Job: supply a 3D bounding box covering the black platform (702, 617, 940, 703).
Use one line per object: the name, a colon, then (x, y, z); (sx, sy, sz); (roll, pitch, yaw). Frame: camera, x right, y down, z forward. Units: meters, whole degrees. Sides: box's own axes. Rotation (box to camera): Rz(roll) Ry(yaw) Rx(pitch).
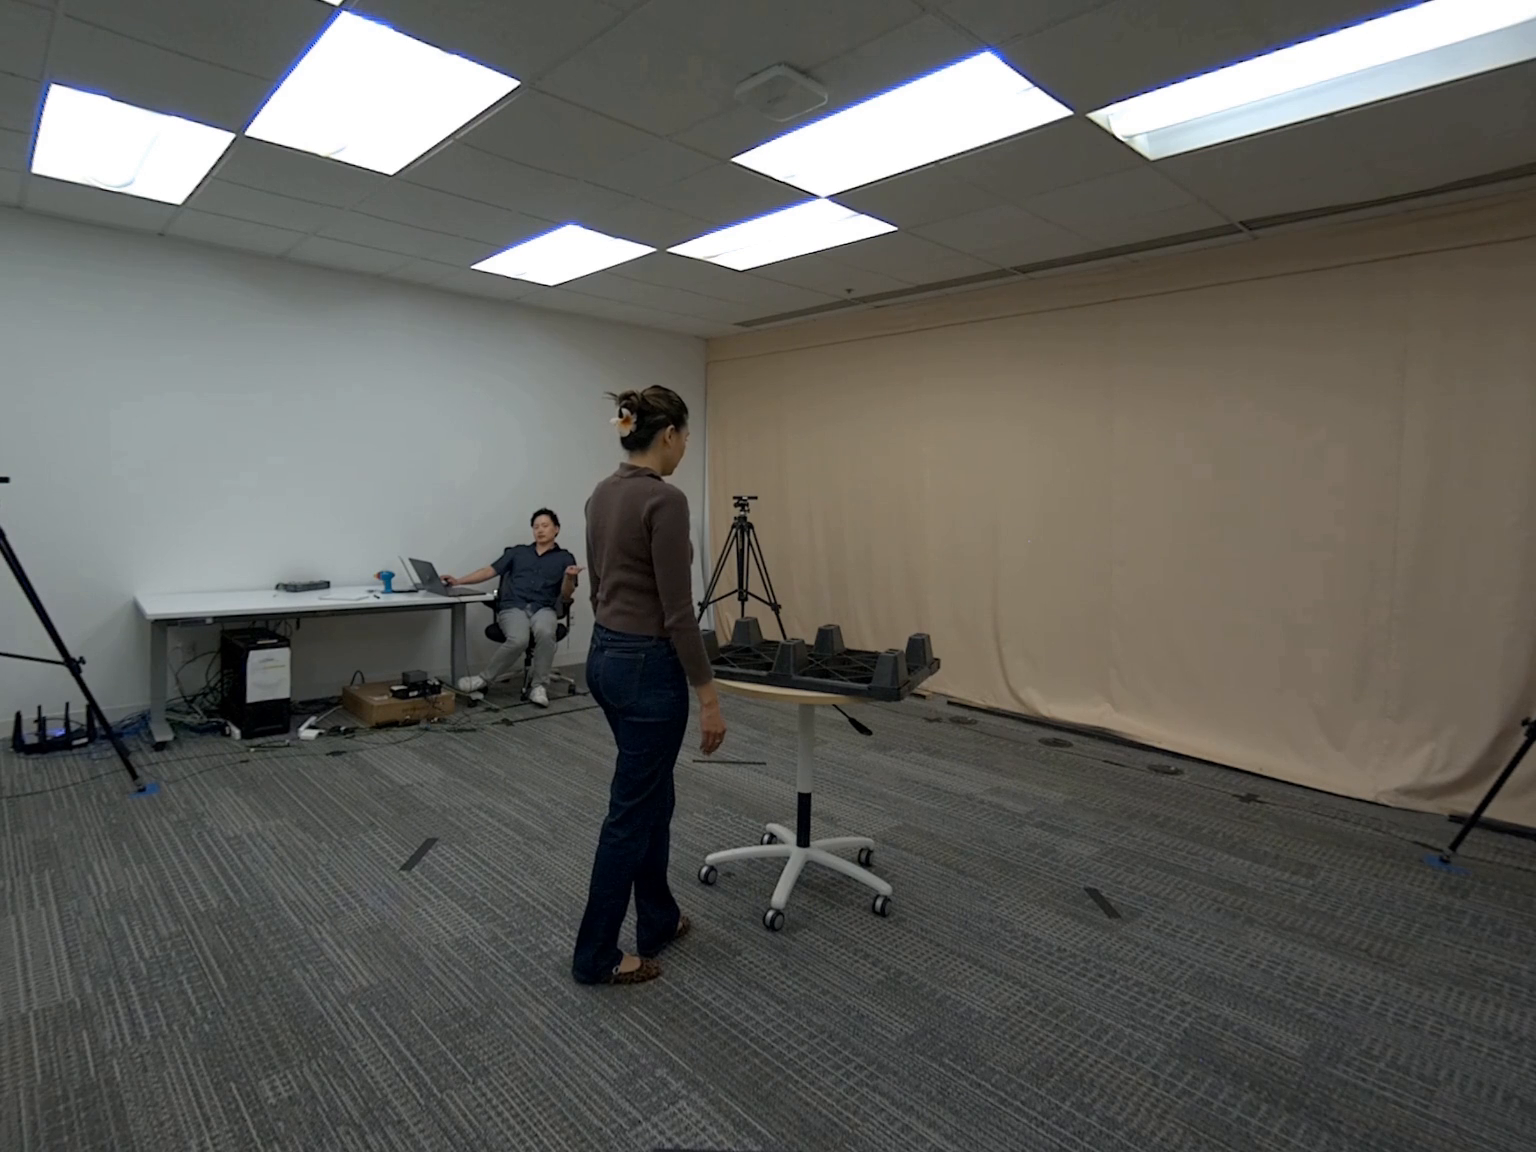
black platform: (0.143, 0.273, 2.988); (0.821, 0.143, 0.596); (4, 6, 24)
